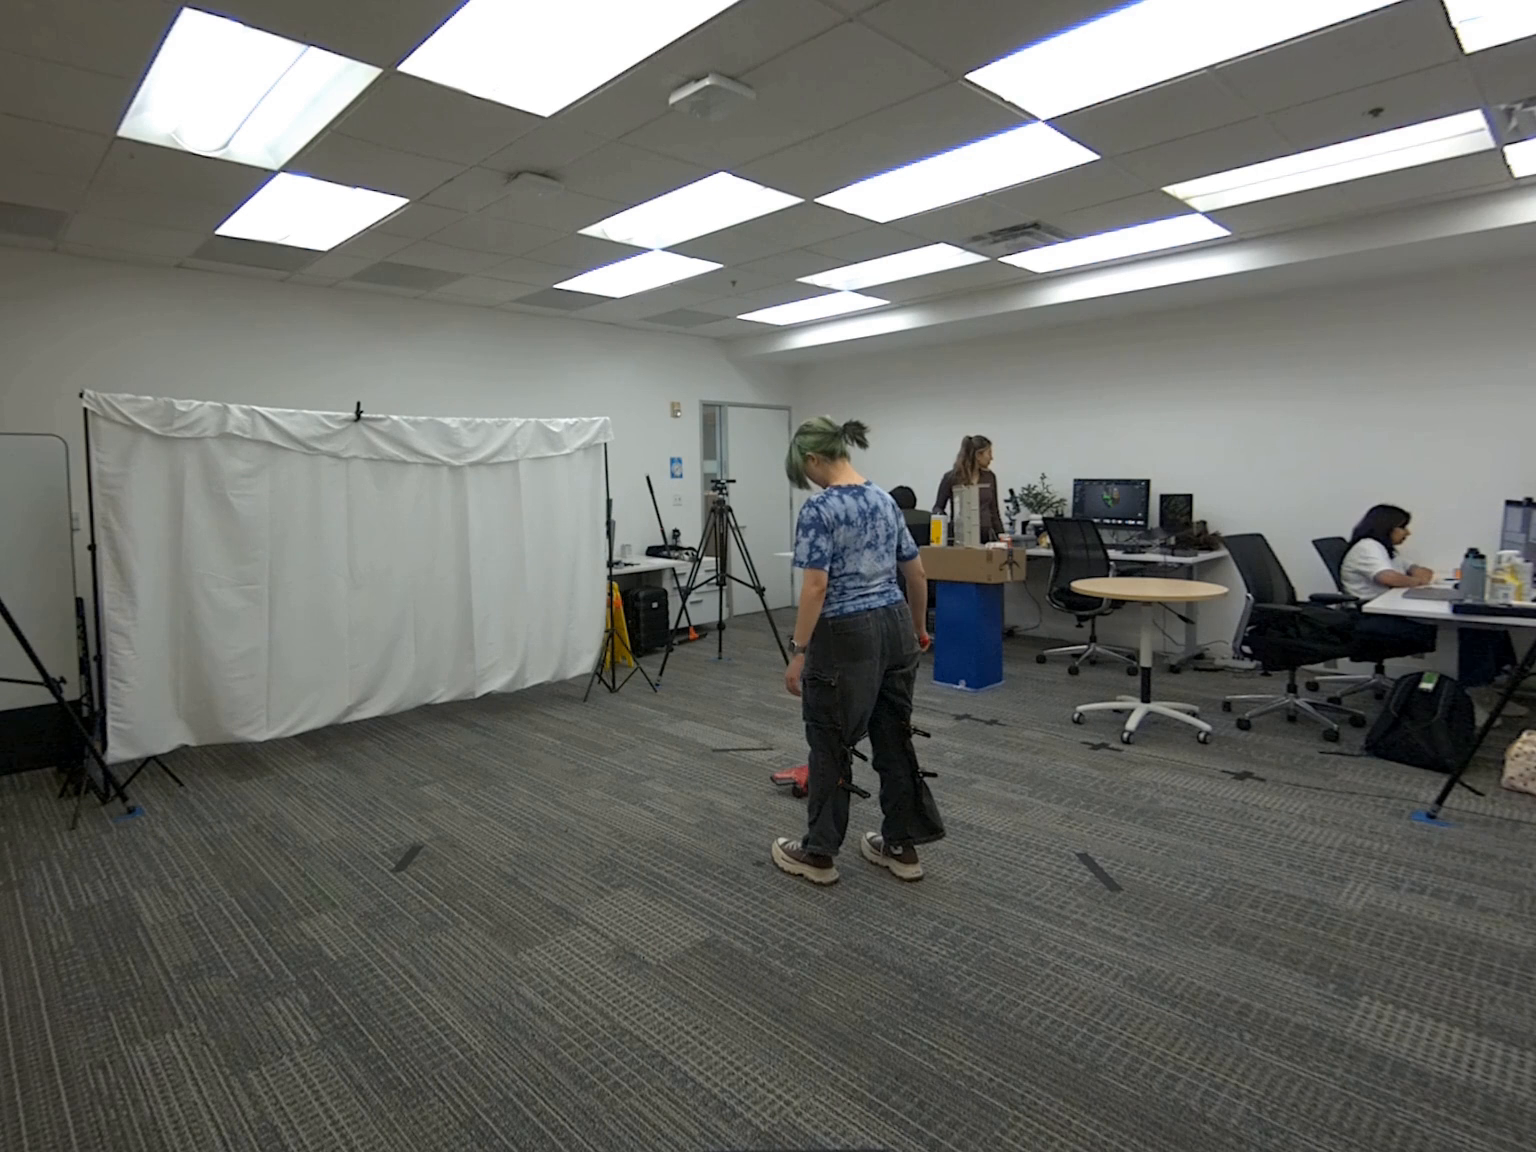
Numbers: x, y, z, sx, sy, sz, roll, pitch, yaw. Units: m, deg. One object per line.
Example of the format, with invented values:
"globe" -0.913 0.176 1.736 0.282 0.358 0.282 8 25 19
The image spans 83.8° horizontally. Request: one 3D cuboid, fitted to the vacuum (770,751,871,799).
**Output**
"vacuum" 0.374 0.592 3.504 0.246 0.148 1.042 -7 -36 -40
